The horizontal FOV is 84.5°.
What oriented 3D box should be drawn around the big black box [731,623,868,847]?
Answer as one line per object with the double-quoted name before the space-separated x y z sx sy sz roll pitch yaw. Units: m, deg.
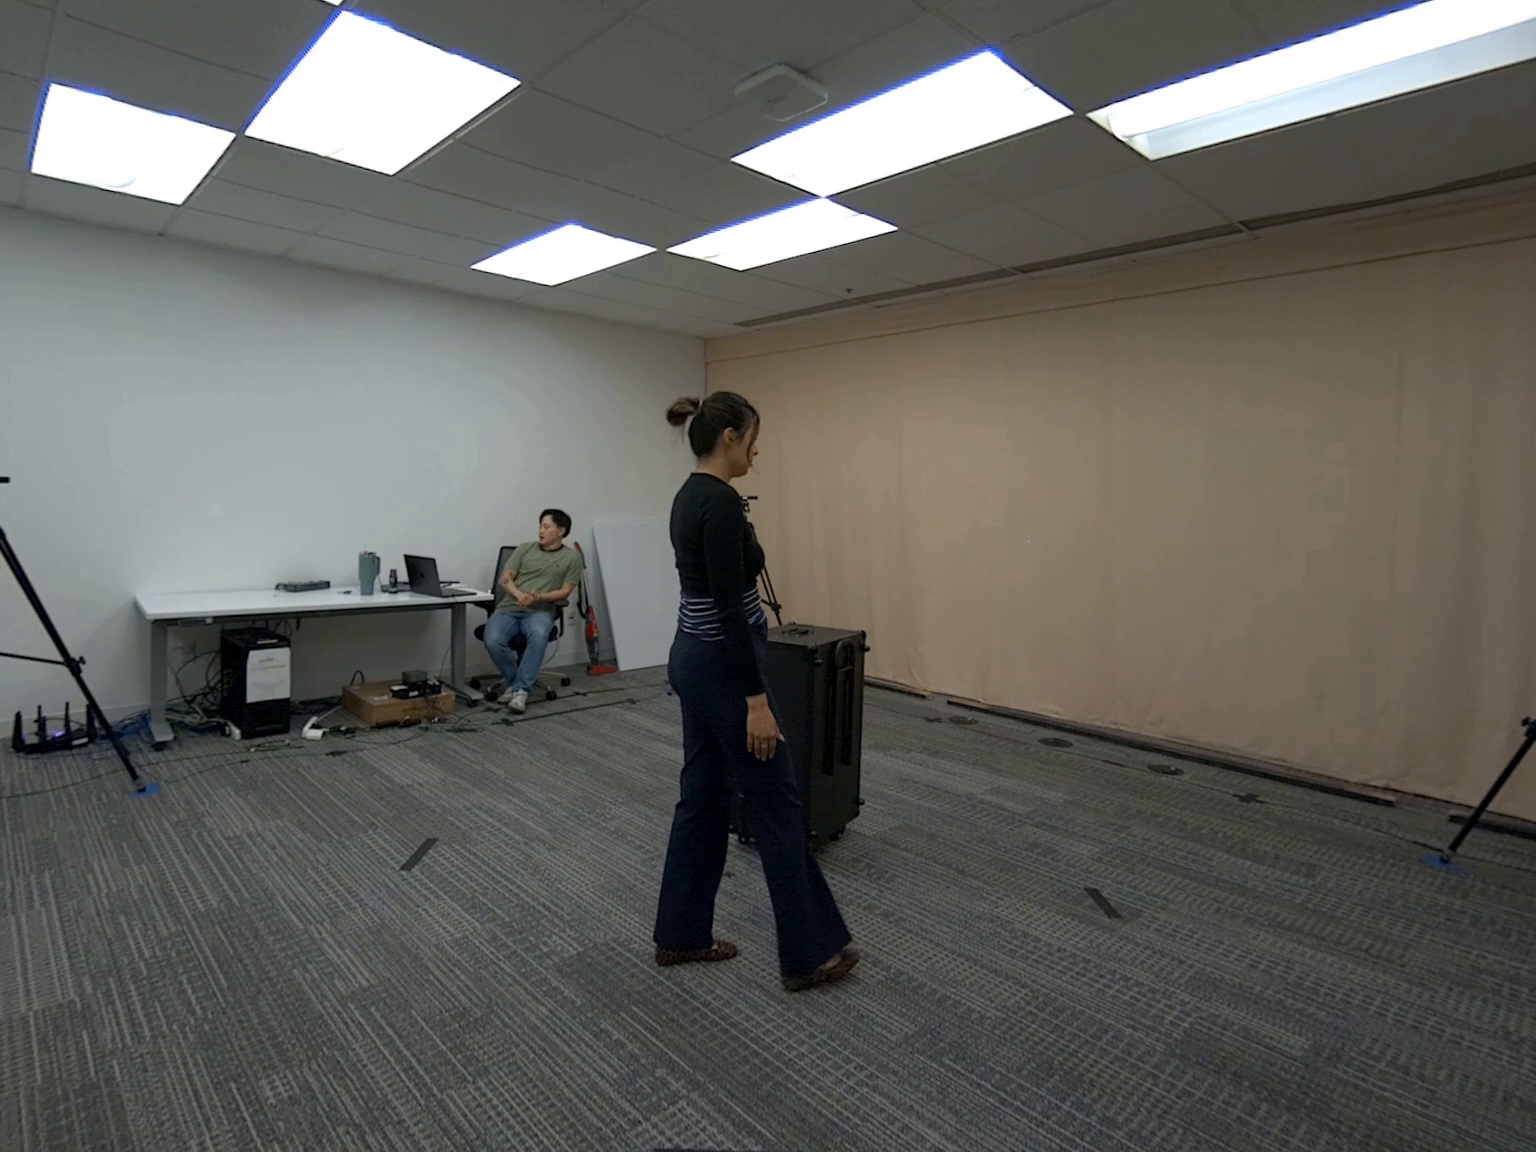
"big black box" 0.133 0.660 3.418 0.405 0.859 0.511 5 4 31
